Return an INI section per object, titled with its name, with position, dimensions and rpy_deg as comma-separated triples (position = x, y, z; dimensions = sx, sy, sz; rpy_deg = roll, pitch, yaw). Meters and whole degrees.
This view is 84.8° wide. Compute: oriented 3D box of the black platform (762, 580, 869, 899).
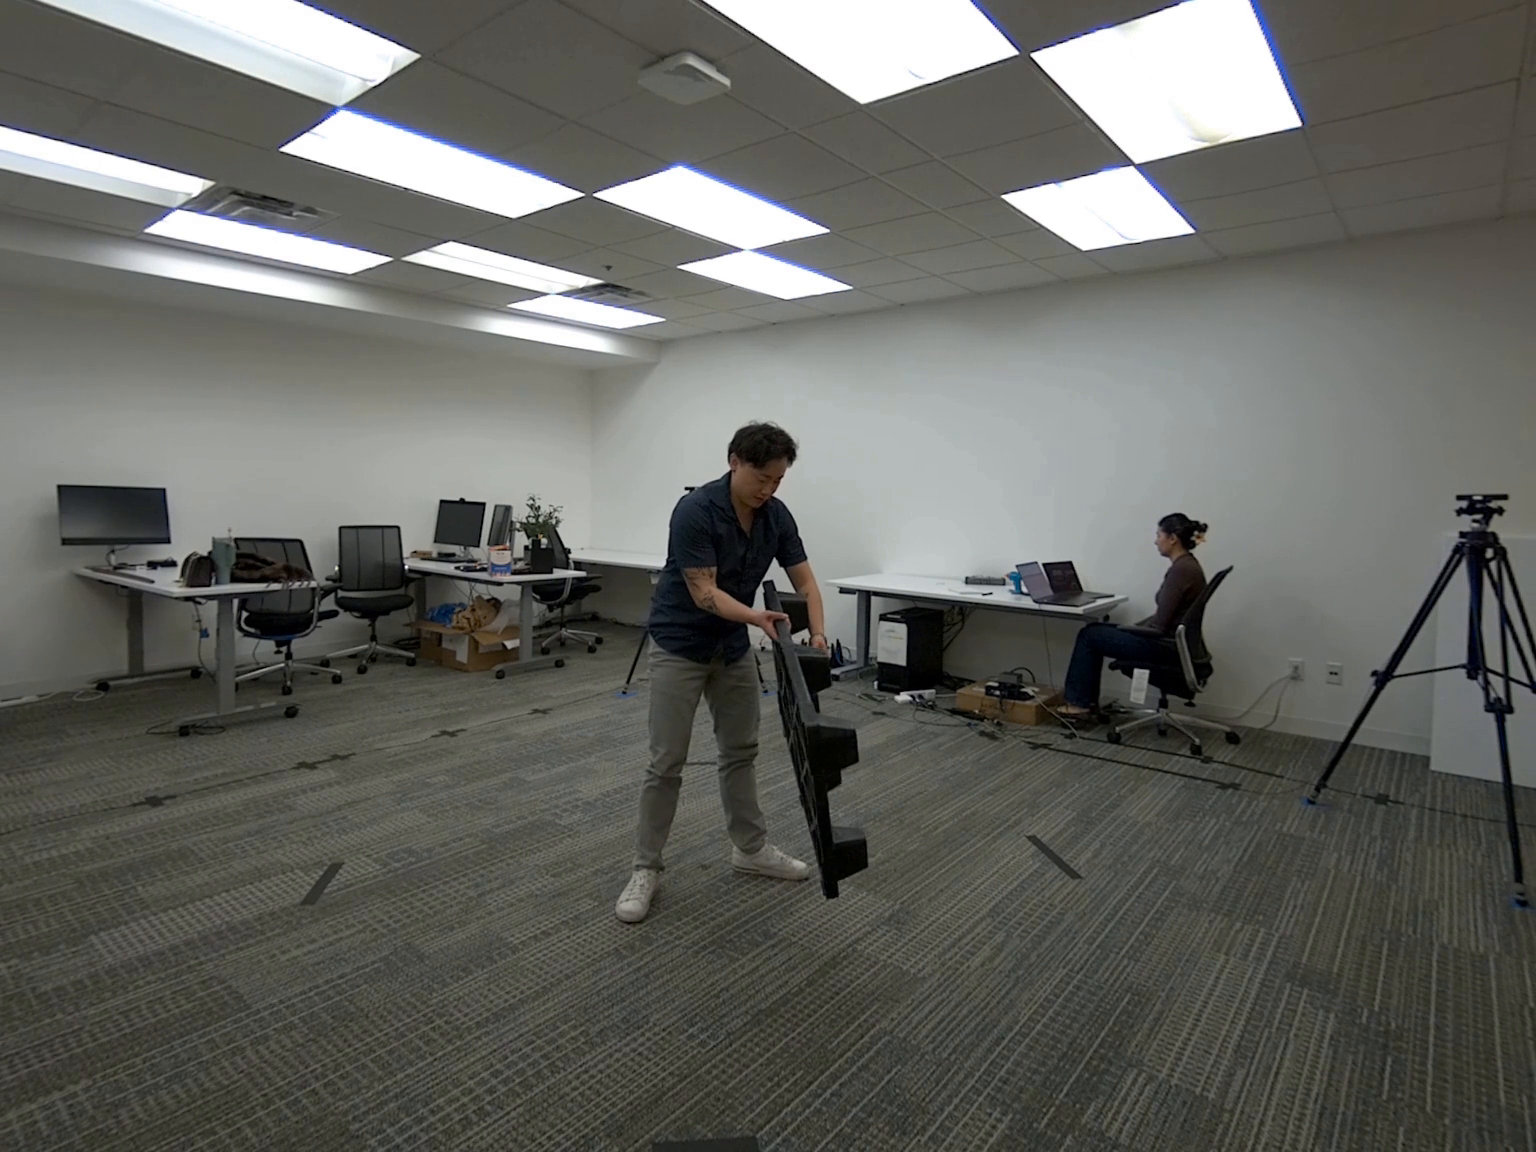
[black platform]
position = 0.126, 0.448, 2.568
dimensions = 0.143, 0.589, 0.829
rpy_deg = -10, 27, -4
